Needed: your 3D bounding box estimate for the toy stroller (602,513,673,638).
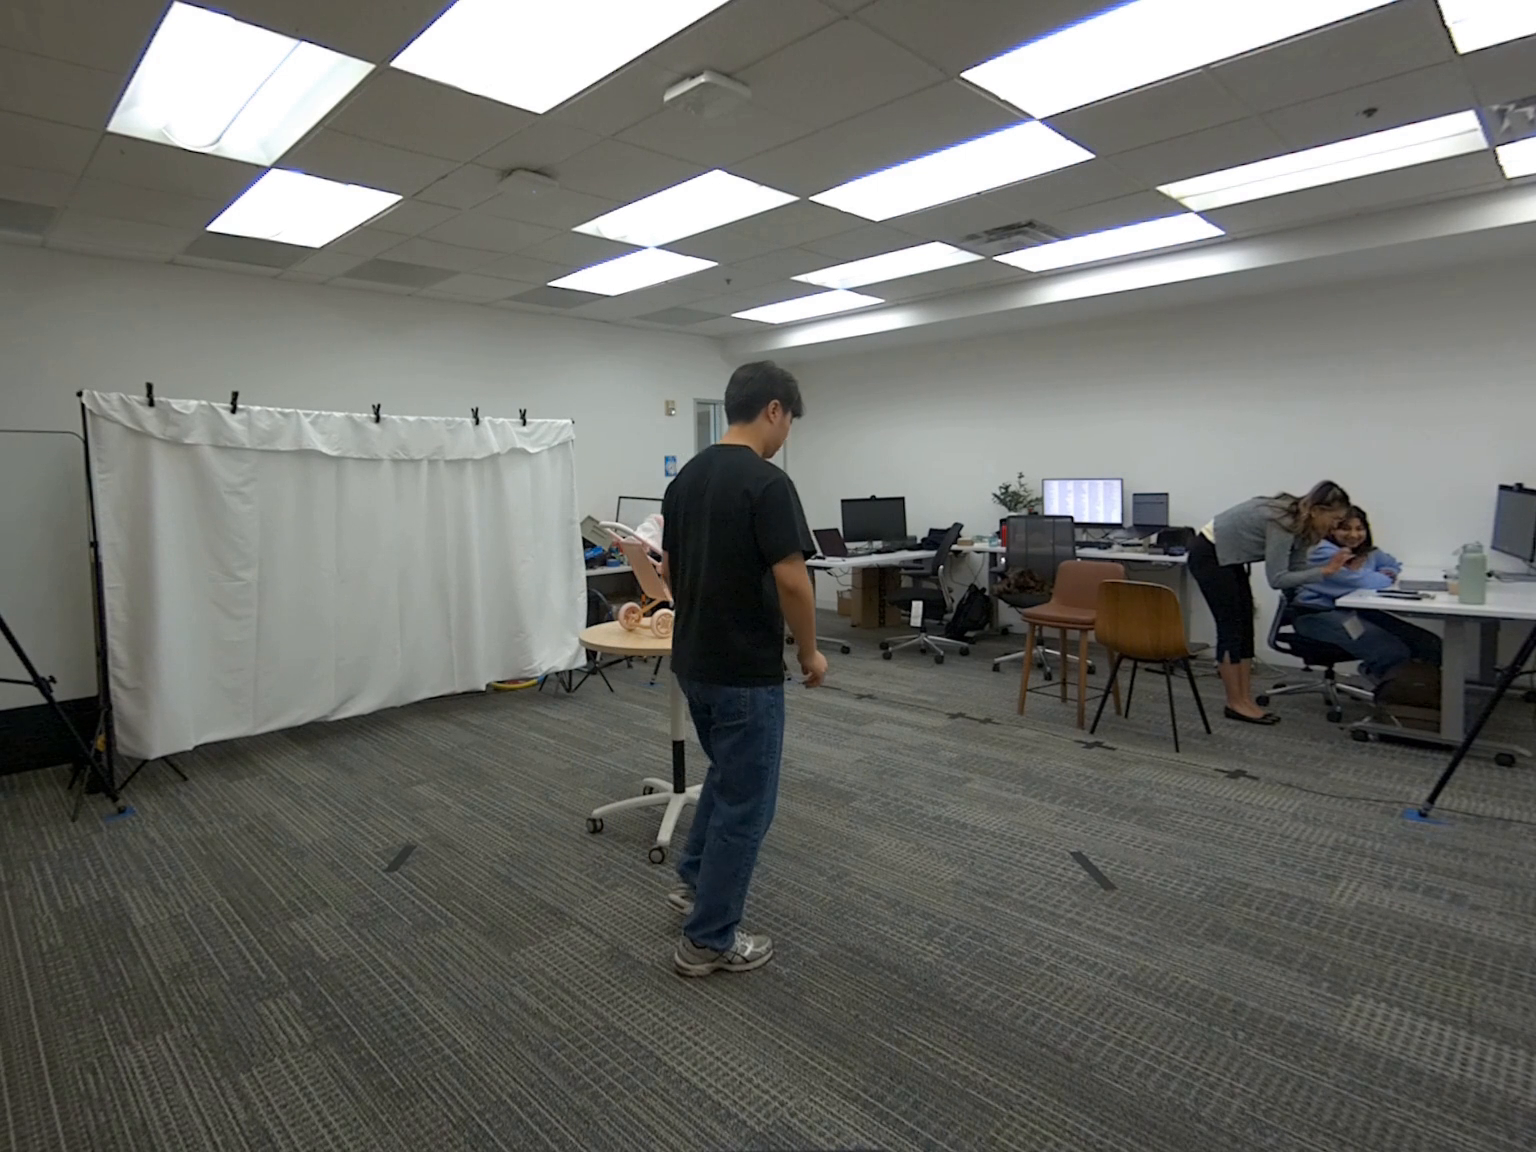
[{"bbox_3d":[-0.421,-0.002,3.366,0.336,0.529,0.289,-20,13,-31],"label":"toy stroller"}]
